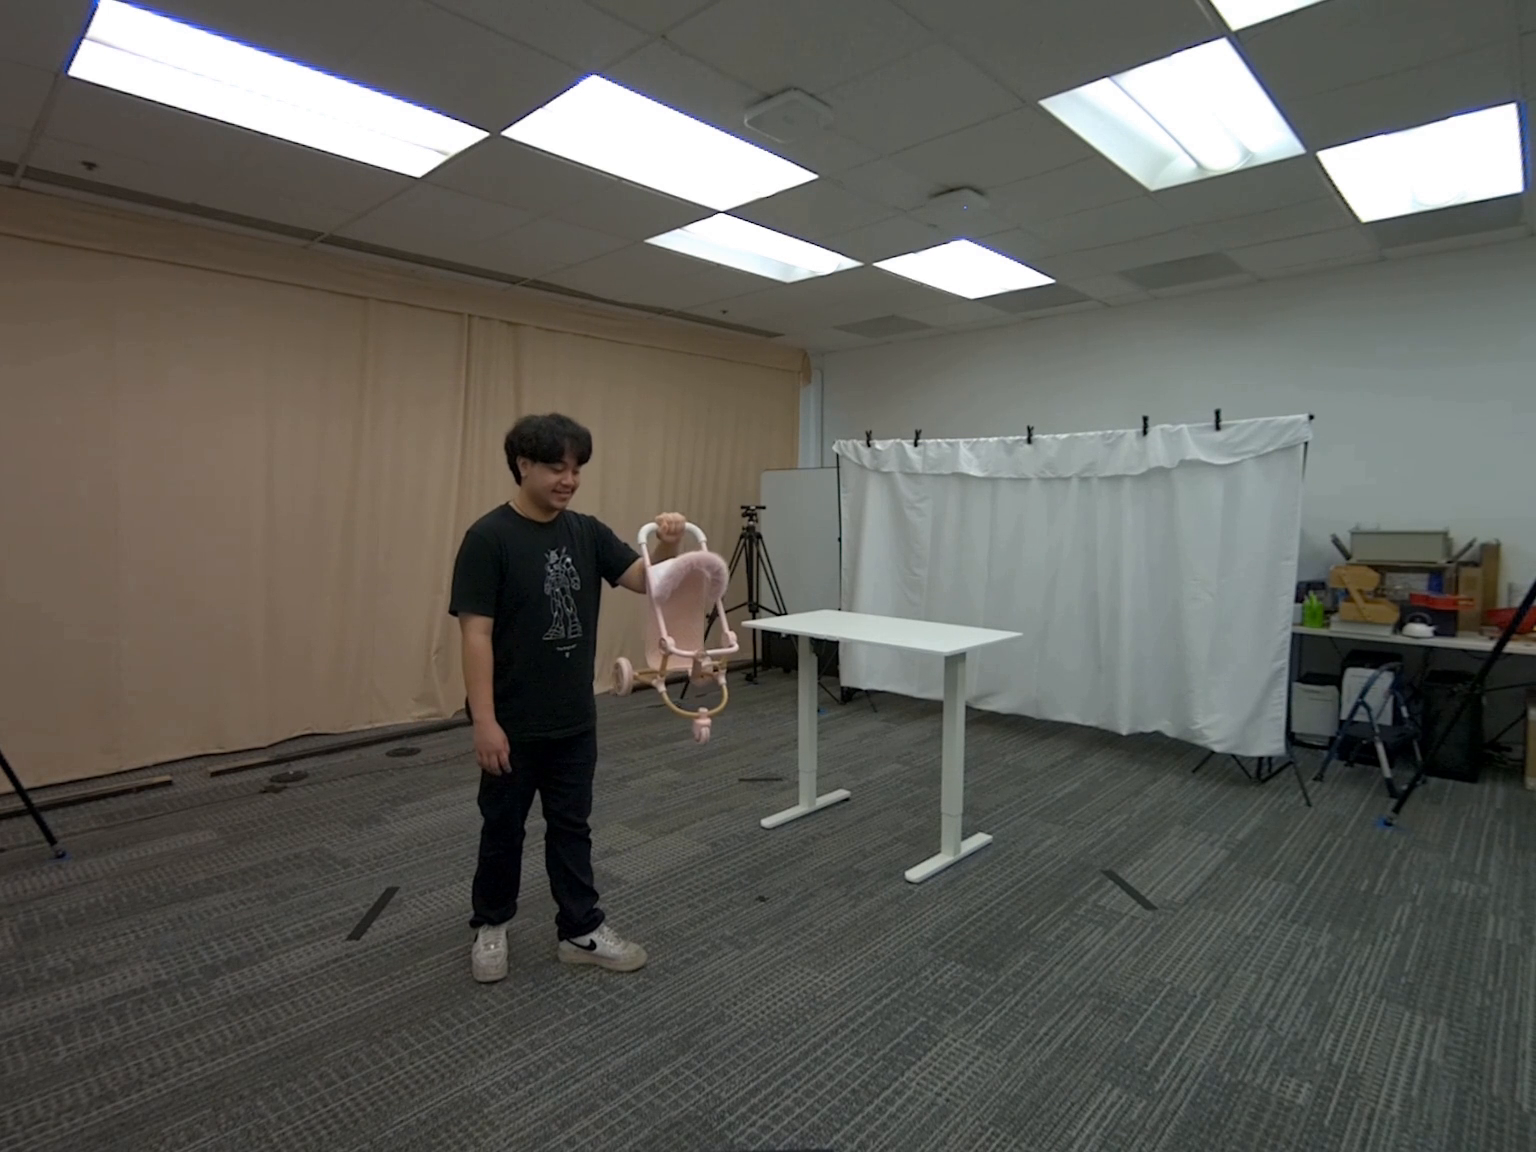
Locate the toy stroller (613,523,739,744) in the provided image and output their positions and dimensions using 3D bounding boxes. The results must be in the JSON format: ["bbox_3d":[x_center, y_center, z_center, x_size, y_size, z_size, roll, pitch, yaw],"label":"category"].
[{"bbox_3d":[-0.224,0.153,2.265,0.274,0.532,0.353,1,13,-30],"label":"toy stroller"}]
